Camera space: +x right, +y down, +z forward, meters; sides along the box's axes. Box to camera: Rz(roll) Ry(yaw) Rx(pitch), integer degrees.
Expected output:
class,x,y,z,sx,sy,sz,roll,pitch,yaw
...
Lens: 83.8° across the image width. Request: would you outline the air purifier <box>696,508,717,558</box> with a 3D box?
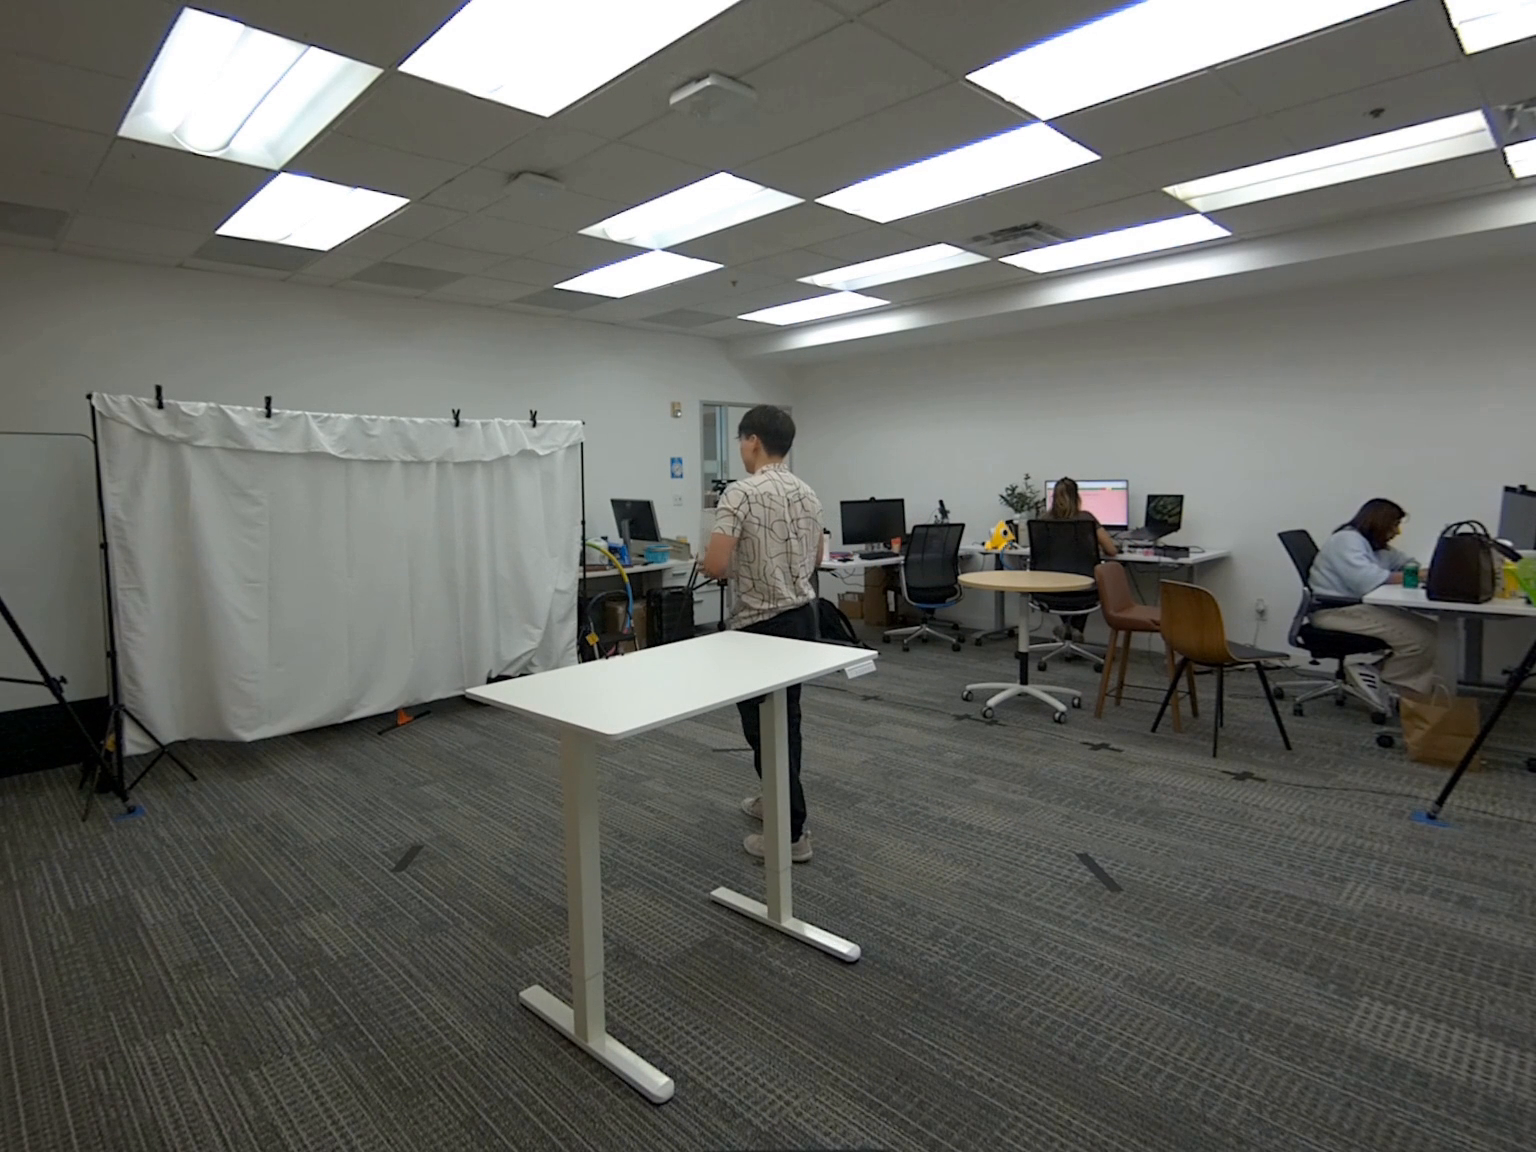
class,x,y,z,sx,sy,sz,roll,pitch,yaw
air purifier,-0.165,-0.137,3.475,0.177,0.263,0.167,11,12,42
